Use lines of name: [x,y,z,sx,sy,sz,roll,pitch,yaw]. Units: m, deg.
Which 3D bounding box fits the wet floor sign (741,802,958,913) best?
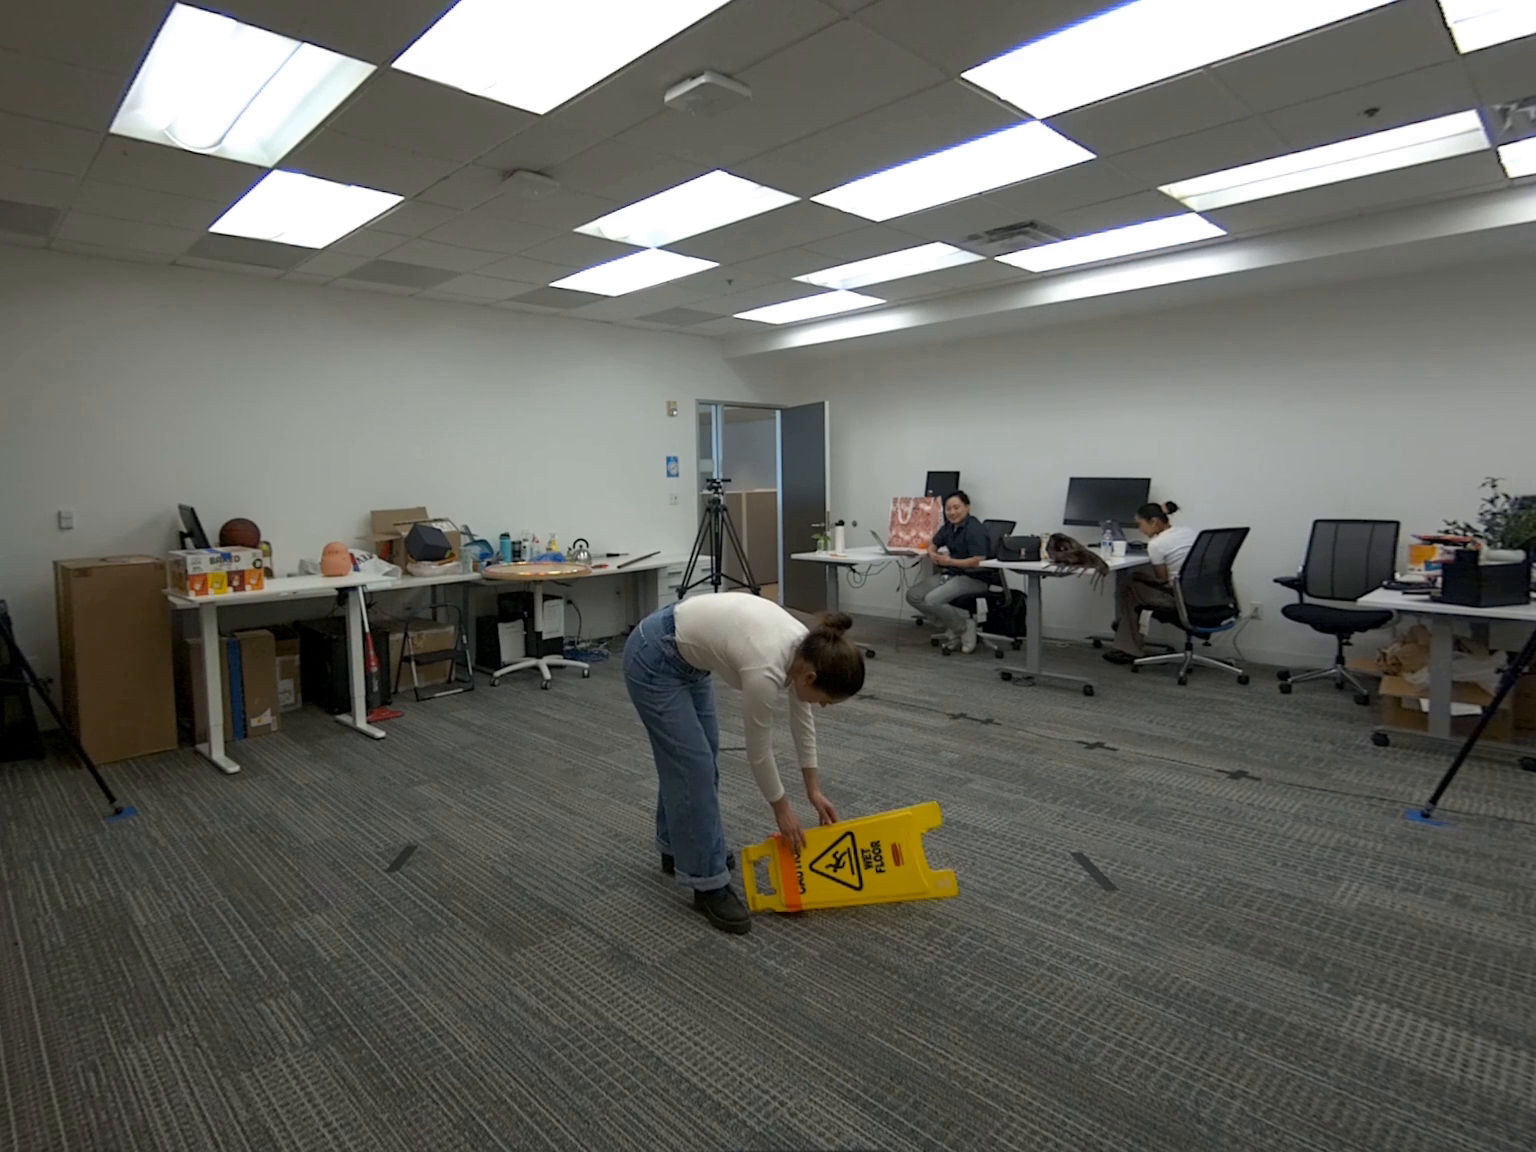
wet floor sign: [0.244,0.935,2.776,0.645,0.289,0.283,-9,-23,-2]
